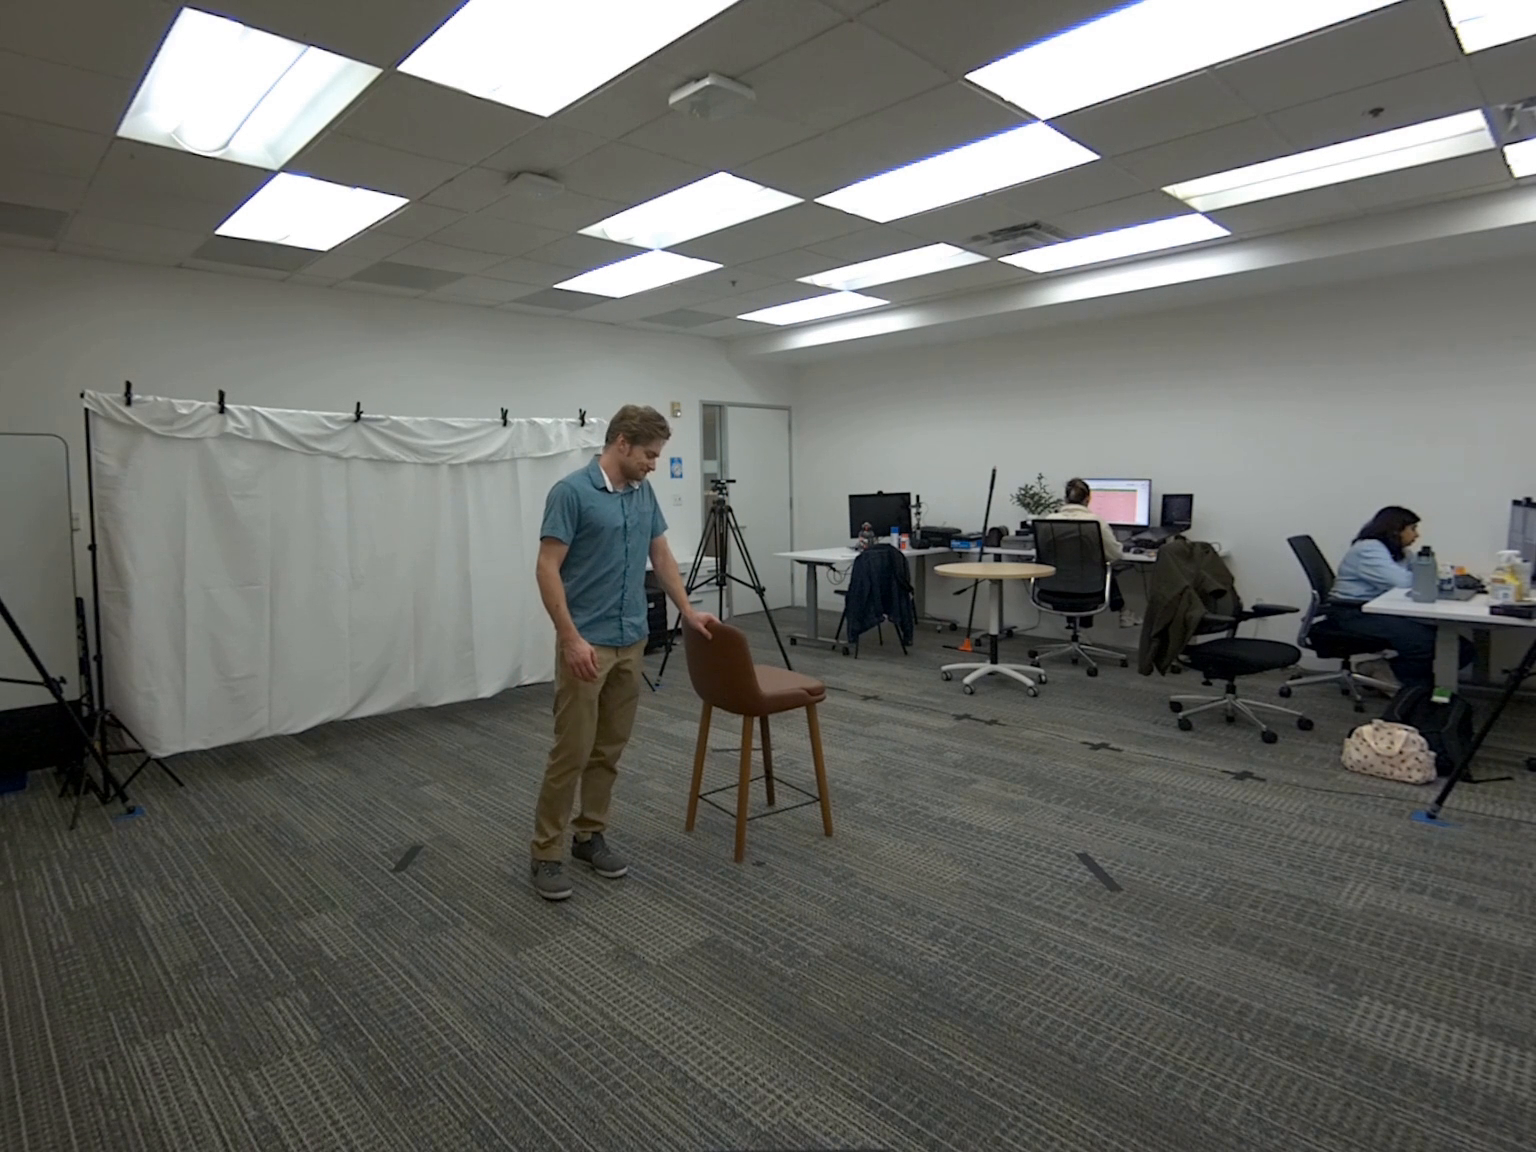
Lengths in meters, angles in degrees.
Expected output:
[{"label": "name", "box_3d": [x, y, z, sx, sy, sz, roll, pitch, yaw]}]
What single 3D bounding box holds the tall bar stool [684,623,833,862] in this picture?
[{"label": "tall bar stool", "box_3d": [-0.060, 0.581, 3.361, 0.456, 0.885, 0.470, -6, 7, -35]}]
